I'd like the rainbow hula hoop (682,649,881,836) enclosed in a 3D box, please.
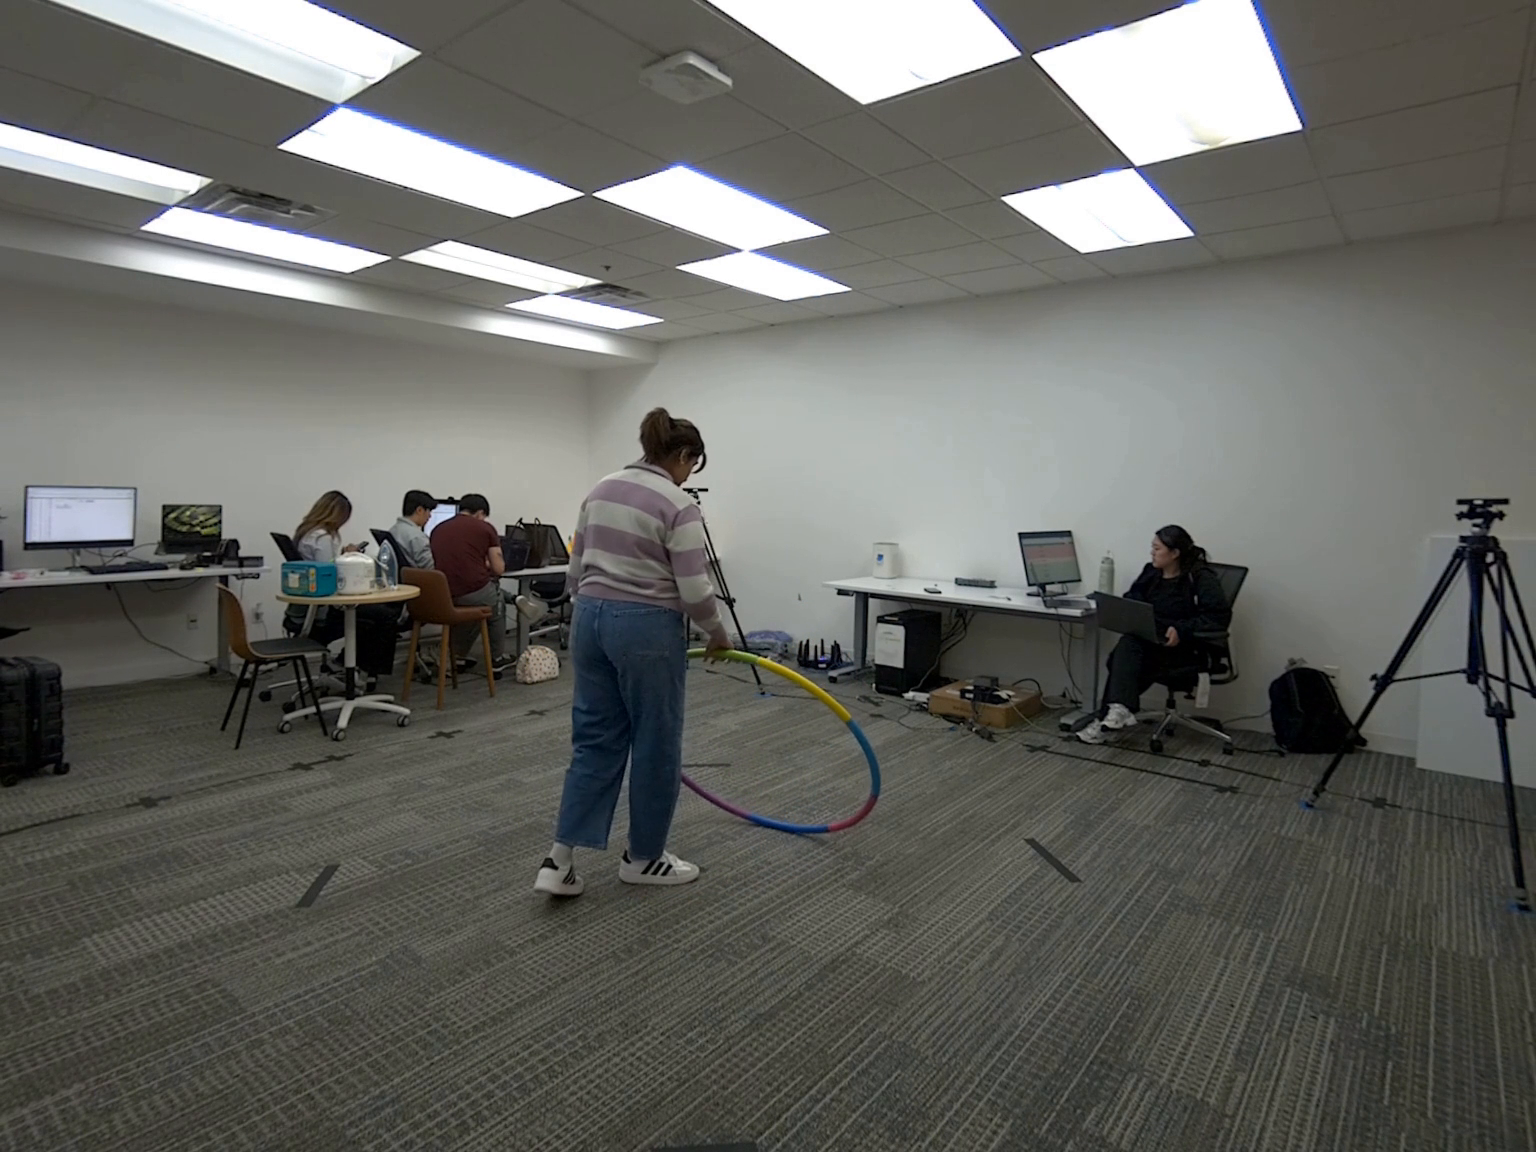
[{"bbox_3d":[-0.068,0.647,3.249,1.012,0.953,0.052,4,38,27],"label":"rainbow hula hoop"}]
